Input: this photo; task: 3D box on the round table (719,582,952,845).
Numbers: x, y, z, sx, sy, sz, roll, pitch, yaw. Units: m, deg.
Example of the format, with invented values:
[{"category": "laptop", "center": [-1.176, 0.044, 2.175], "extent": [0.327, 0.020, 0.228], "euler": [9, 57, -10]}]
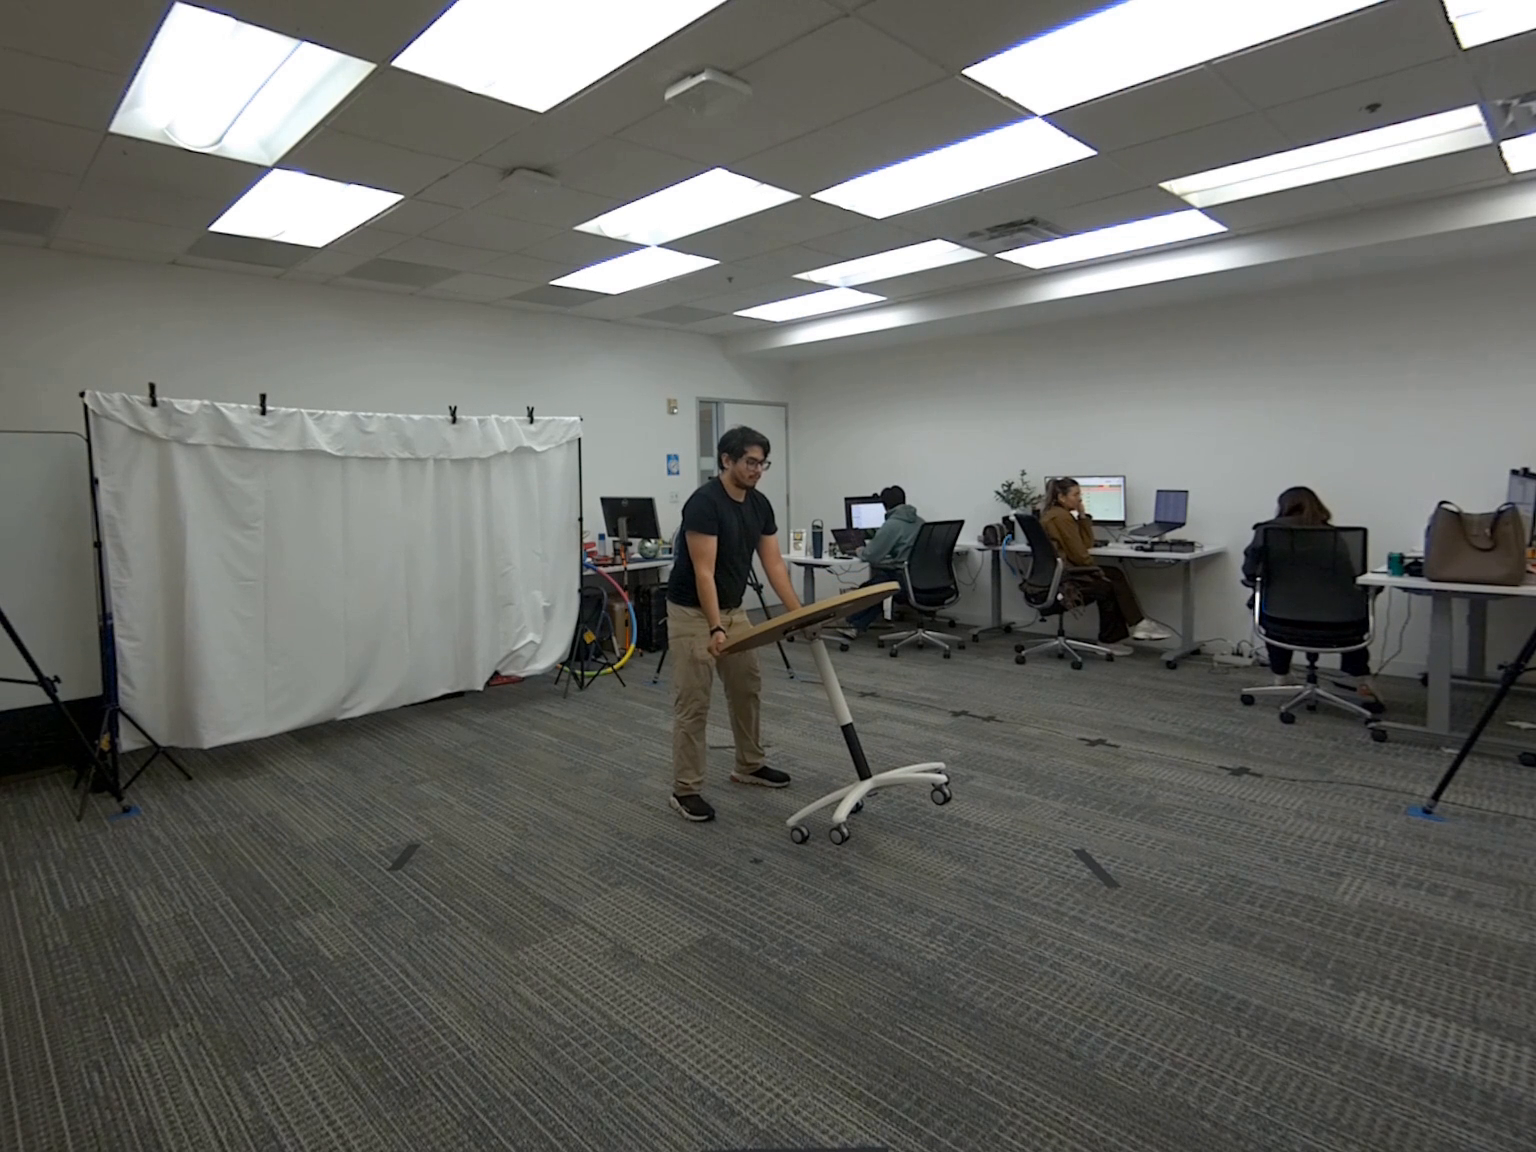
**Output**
[{"category": "round table", "center": [0.281, 0.539, 3.303], "extent": [0.783, 0.797, 0.777], "euler": [-18, -10, -5]}]
